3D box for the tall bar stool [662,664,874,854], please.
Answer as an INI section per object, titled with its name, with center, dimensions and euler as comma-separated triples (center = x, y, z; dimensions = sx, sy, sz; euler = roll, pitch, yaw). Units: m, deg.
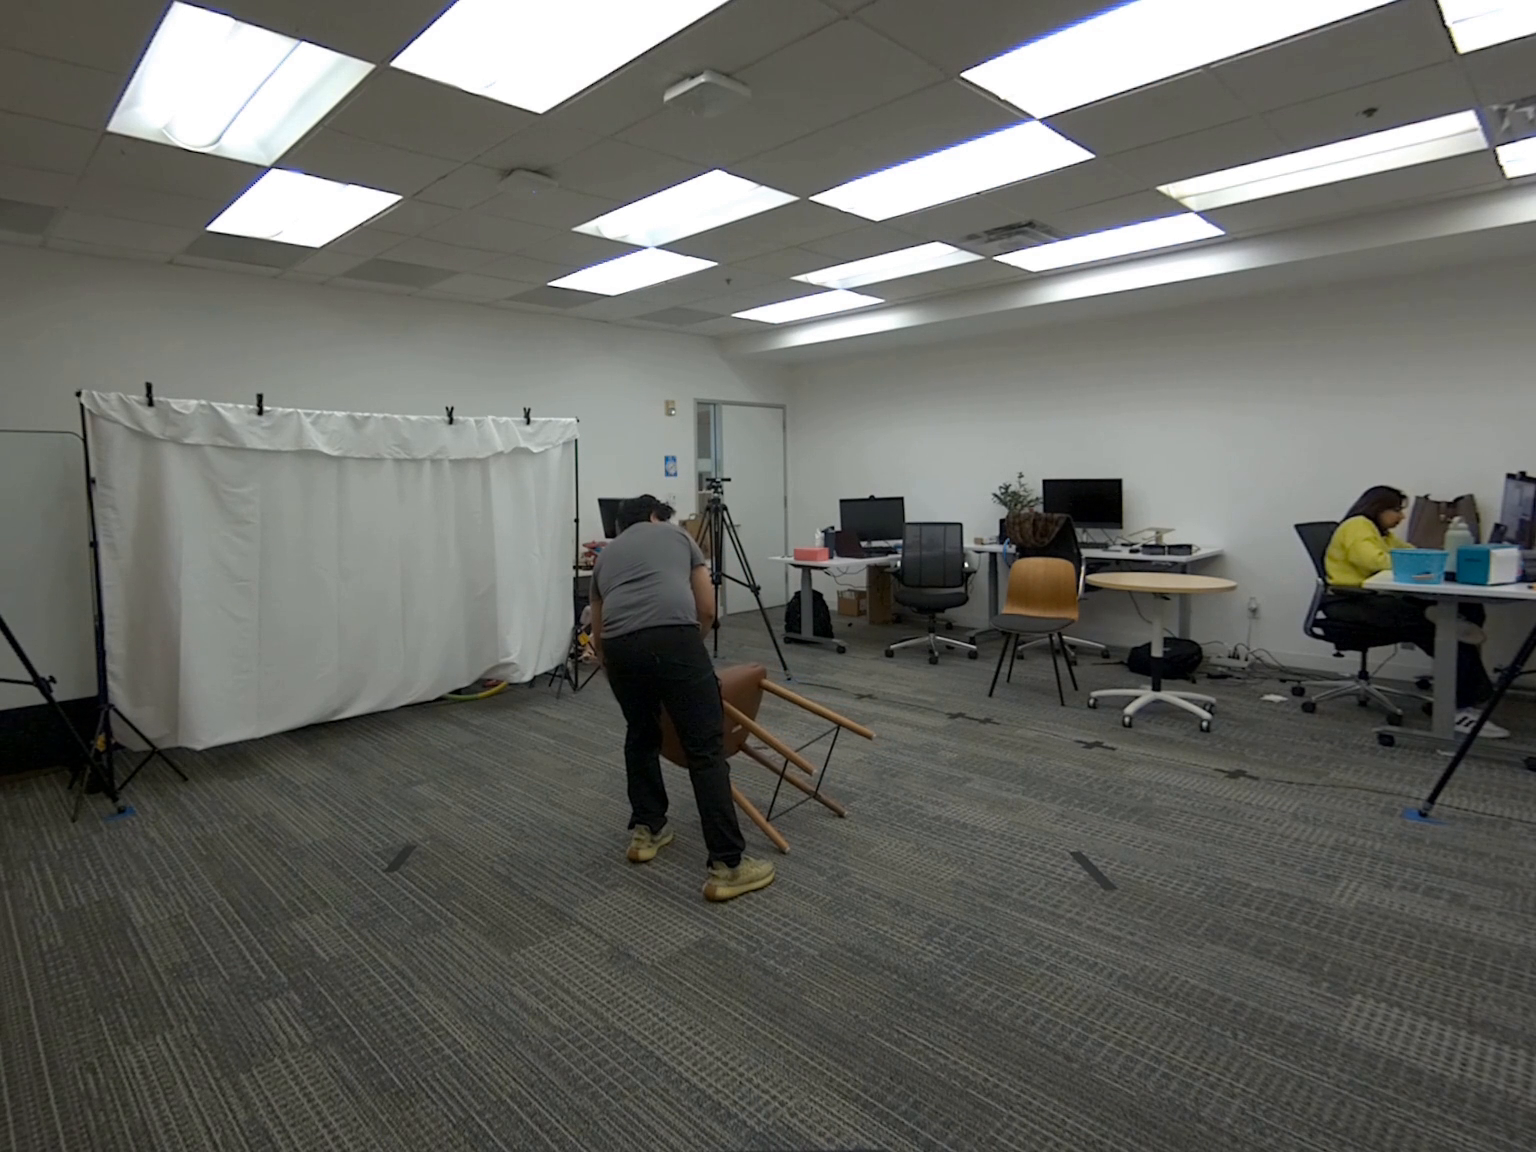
[tall bar stool]
center = -0.093, 0.654, 3.525
dimensions = 0.920, 0.451, 0.457
euler = 28, 22, 30
